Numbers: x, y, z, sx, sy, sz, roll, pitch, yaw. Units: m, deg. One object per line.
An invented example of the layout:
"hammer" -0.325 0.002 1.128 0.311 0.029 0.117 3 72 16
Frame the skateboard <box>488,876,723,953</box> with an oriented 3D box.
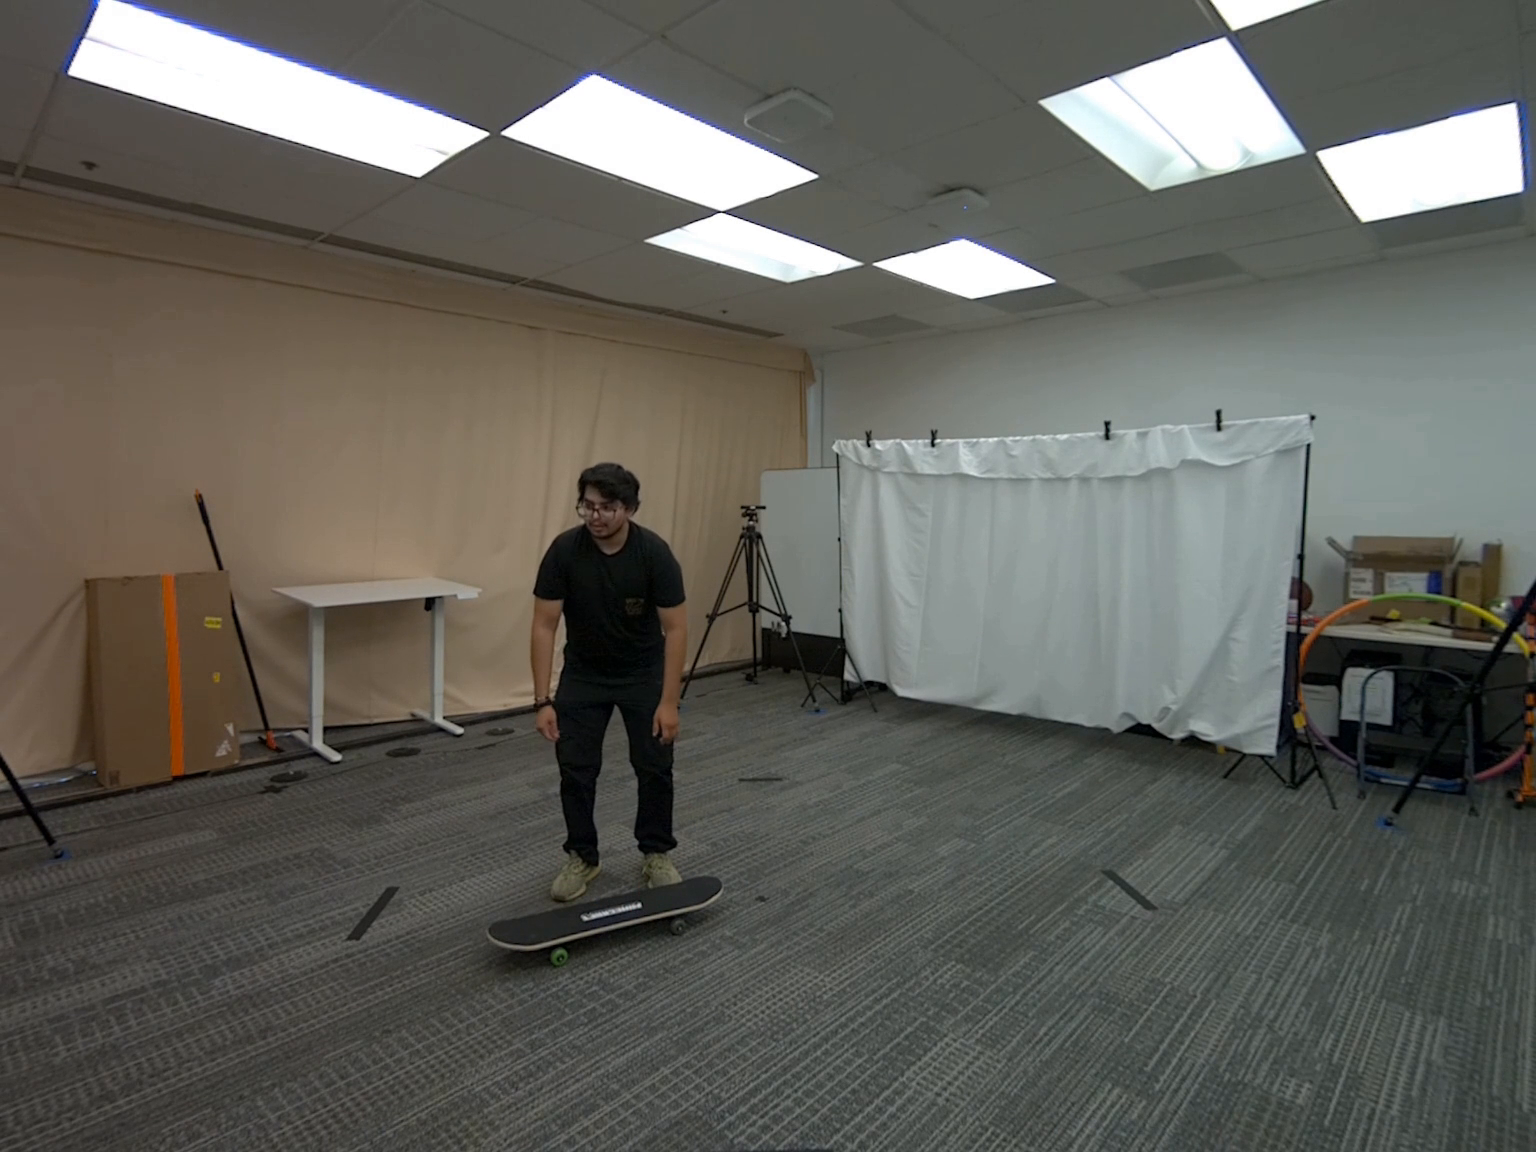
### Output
"skateboard" -0.502 1.108 2.715 0.766 0.110 0.199 -3 6 -27
